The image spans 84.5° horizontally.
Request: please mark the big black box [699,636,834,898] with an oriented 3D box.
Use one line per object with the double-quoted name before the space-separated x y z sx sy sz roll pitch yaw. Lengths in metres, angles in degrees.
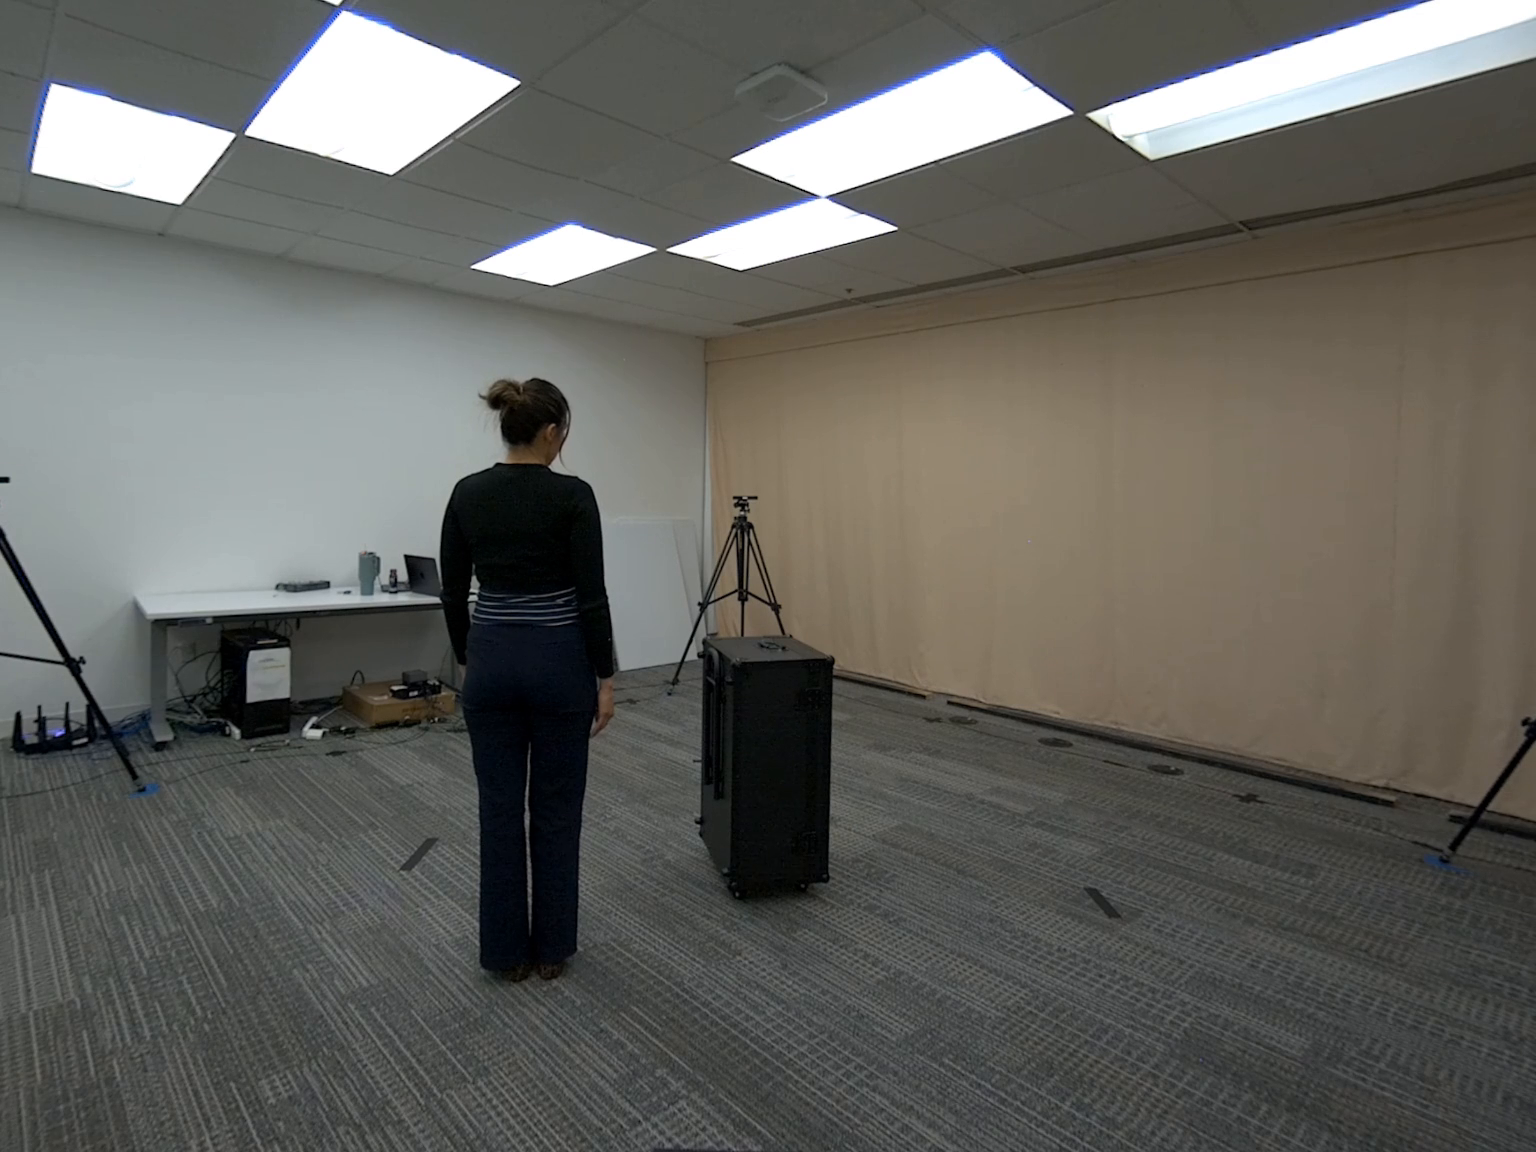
"big black box" -0.033 0.621 3.069 0.391 0.859 0.529 1 4 -17
